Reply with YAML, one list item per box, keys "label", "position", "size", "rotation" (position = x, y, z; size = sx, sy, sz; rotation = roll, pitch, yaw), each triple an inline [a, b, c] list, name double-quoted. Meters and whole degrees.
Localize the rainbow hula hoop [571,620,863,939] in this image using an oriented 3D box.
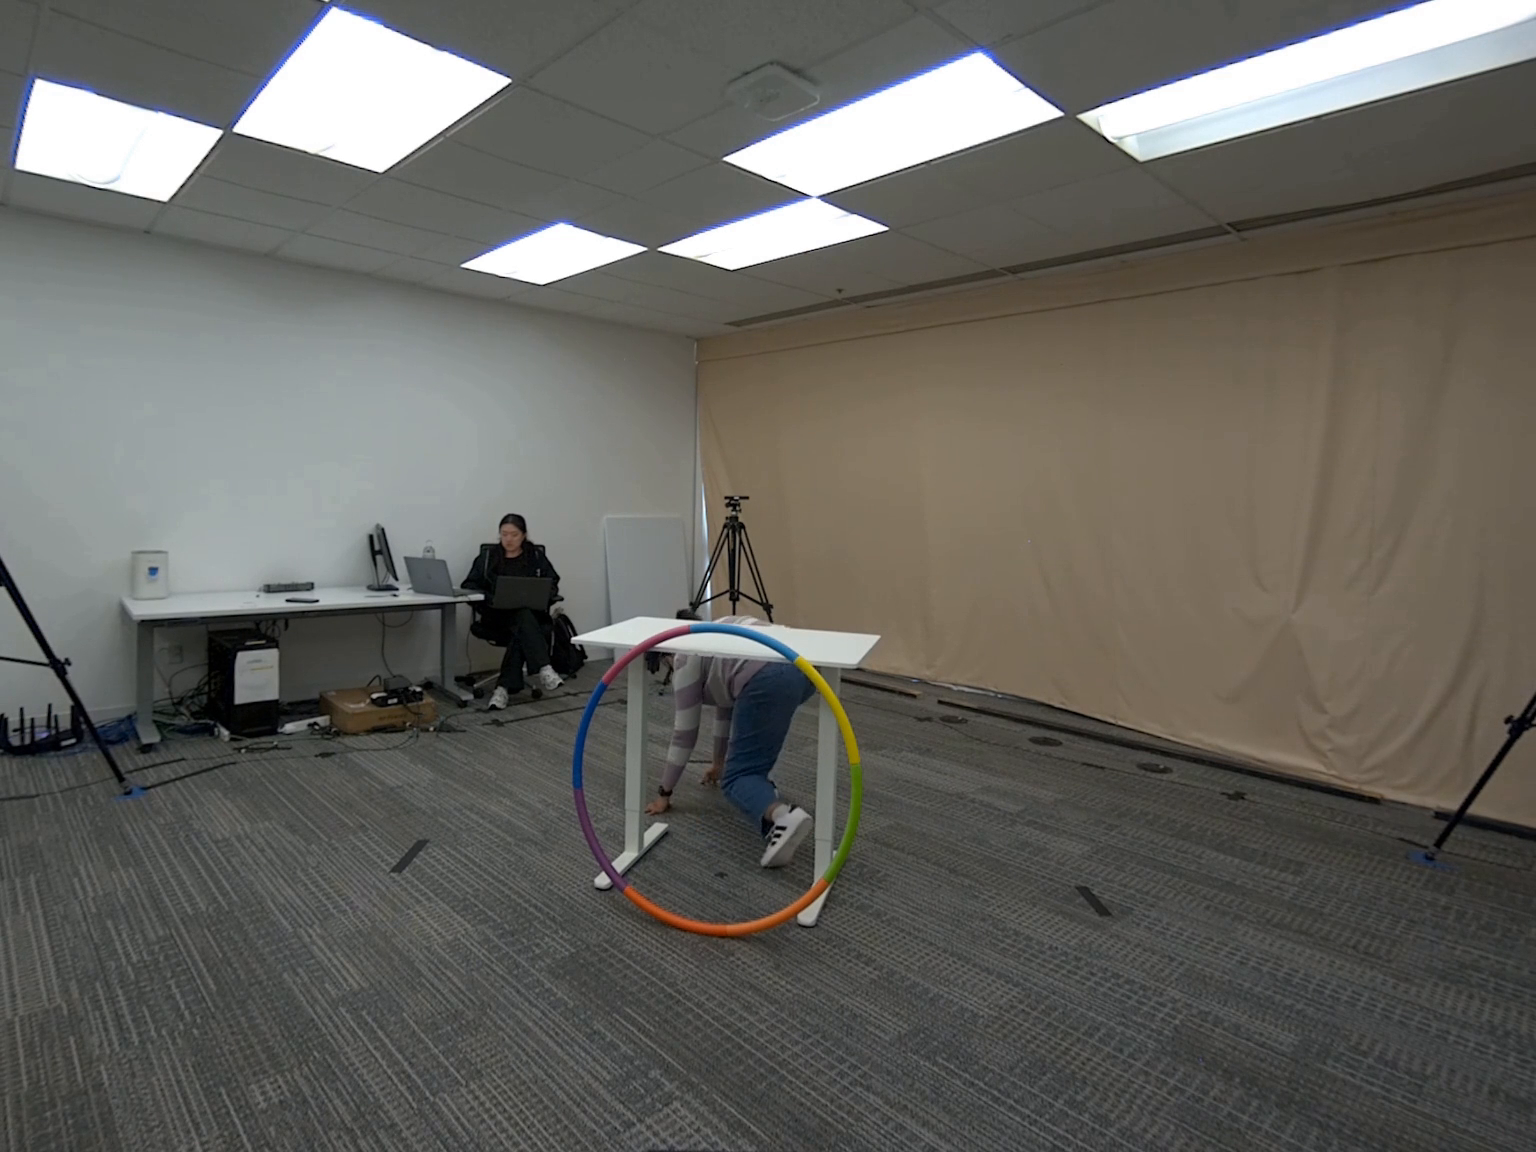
- label: "rainbow hula hoop"
  position: [-0.198, 0.657, 2.722]
  size: [0.992, 0.981, 0.035]
  rotation: [3, -4, 18]
